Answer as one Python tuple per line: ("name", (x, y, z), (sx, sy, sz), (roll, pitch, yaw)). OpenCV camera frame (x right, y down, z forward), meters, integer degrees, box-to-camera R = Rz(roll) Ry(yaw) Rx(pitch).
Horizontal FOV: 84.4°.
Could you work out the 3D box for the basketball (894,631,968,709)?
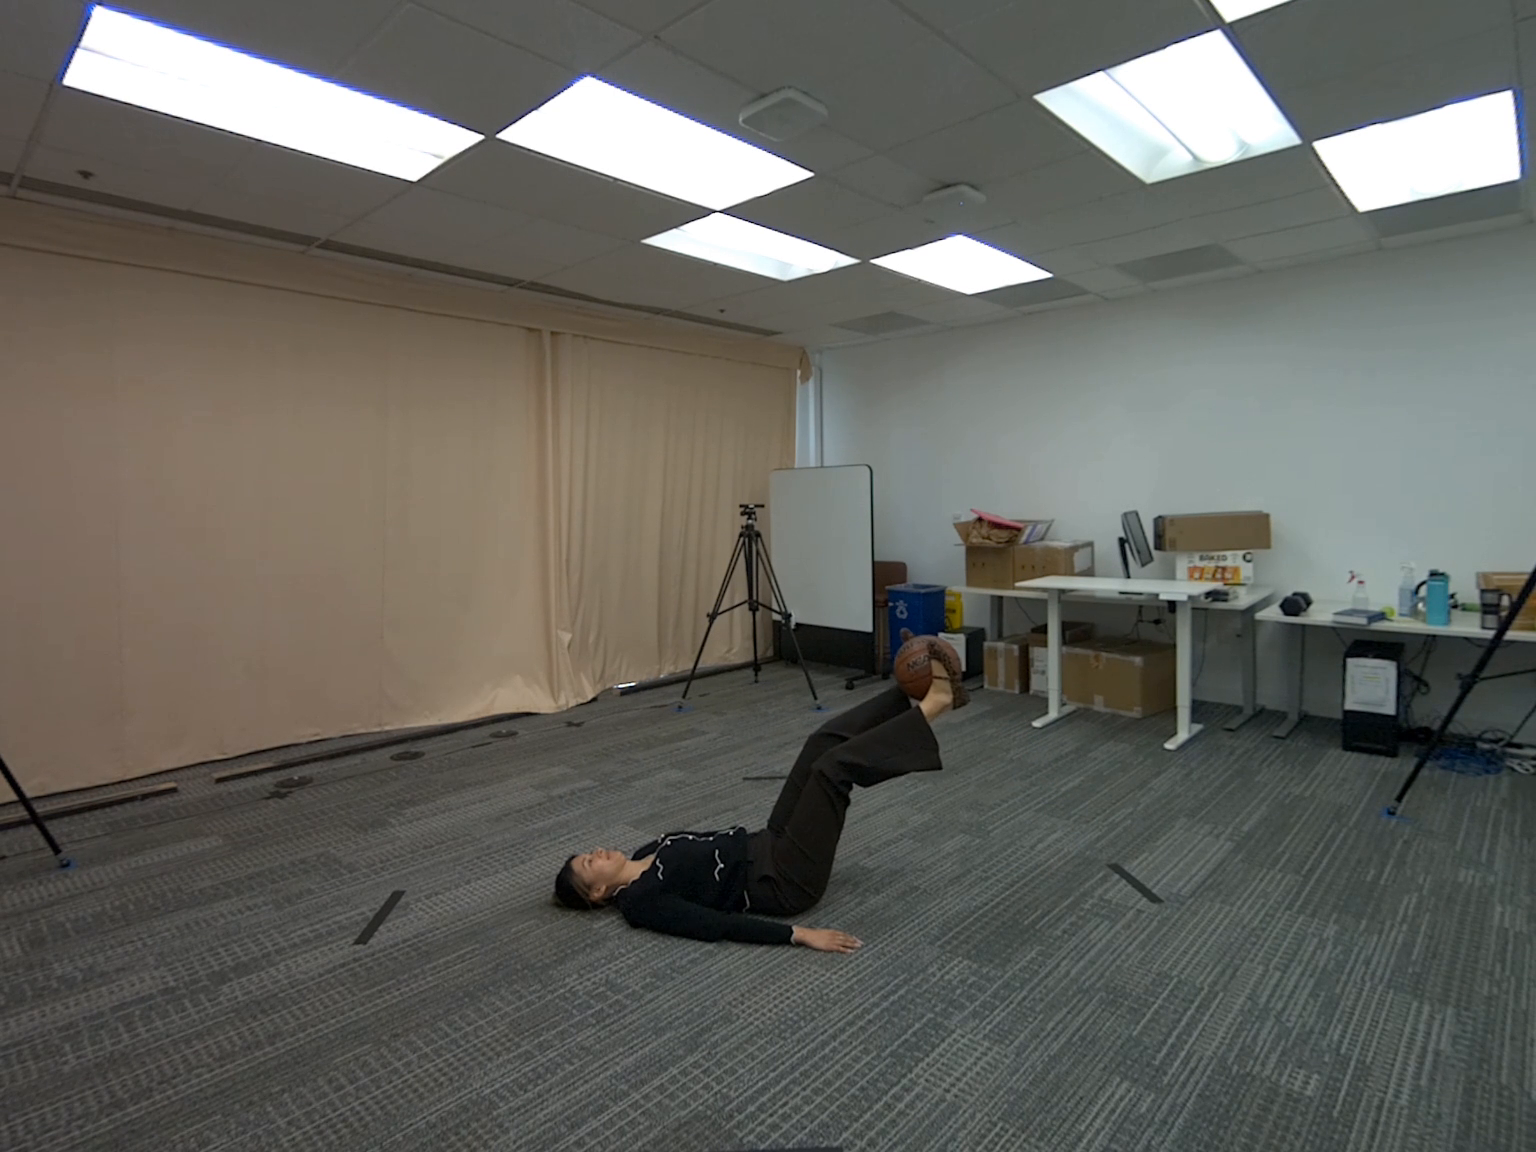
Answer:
("basketball", (0.575, 0.329, 2.997), (0.236, 0.236, 0.236), (0, 1, -2))
